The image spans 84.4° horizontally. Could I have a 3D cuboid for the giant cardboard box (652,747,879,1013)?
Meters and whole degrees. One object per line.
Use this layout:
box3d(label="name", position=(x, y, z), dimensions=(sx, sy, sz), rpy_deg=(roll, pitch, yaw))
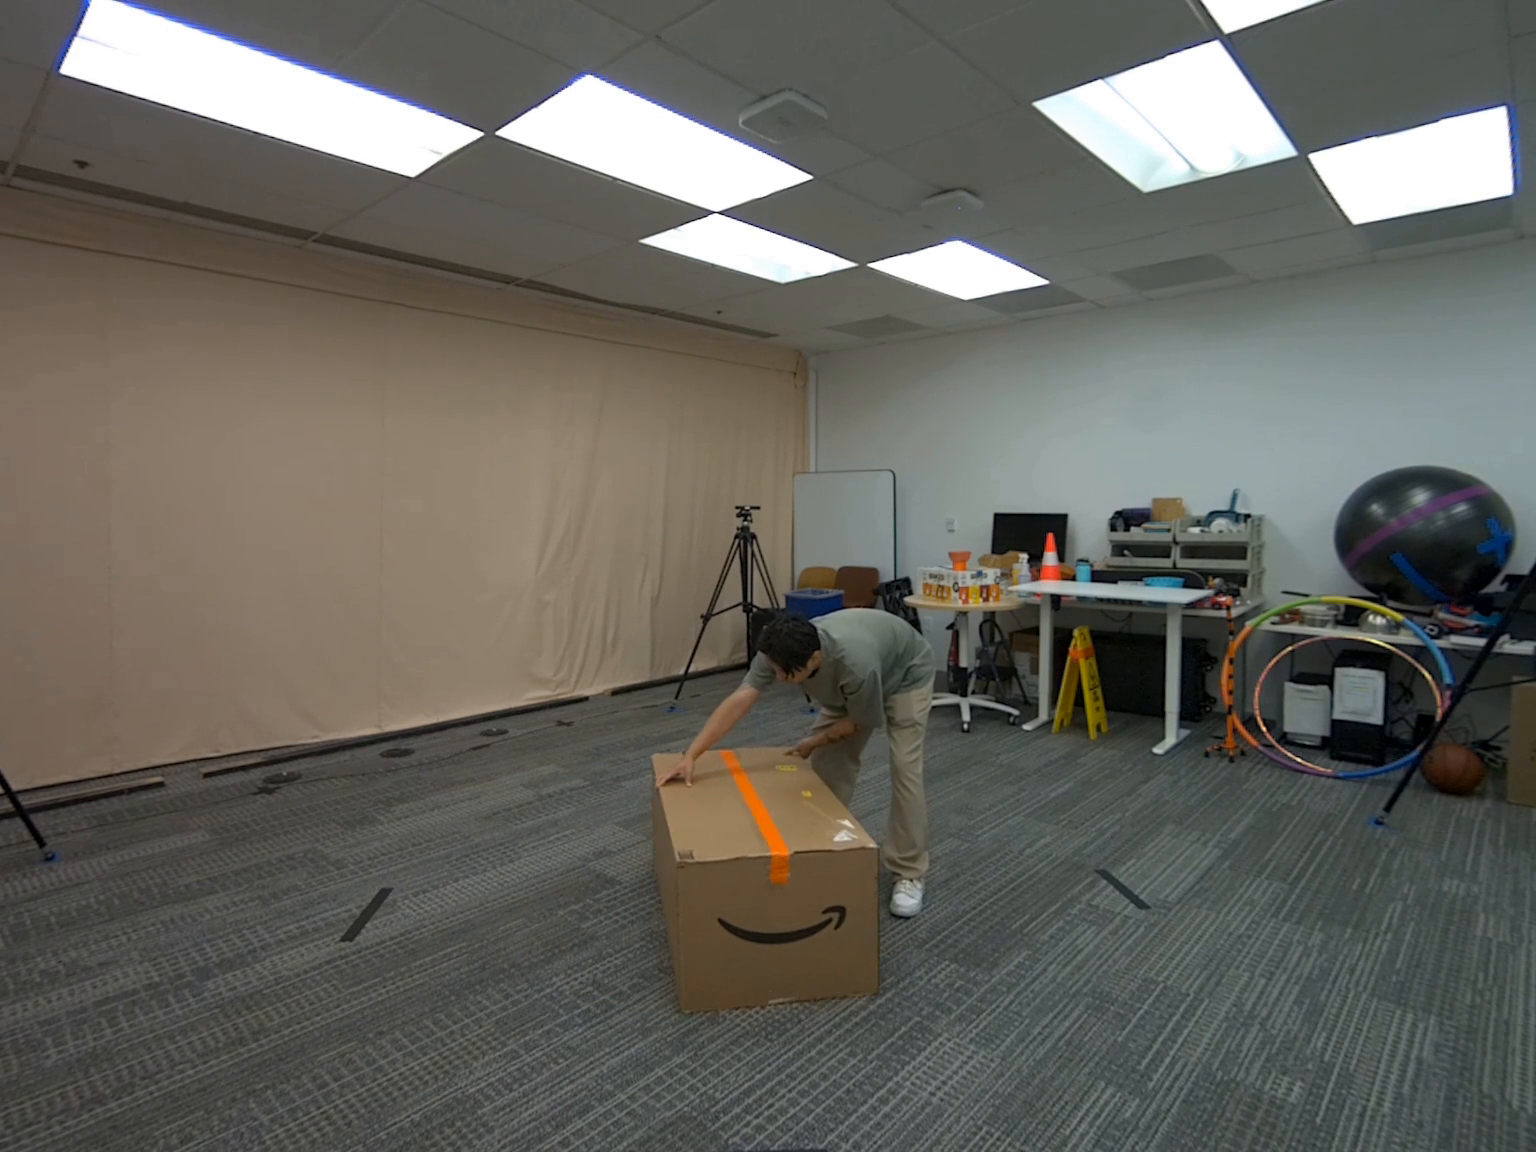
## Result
box3d(label="giant cardboard box", position=(-0.064, 0.937, 2.843), dimensions=(0.571, 0.425, 1.039), rpy_deg=(-2, 5, -11))
